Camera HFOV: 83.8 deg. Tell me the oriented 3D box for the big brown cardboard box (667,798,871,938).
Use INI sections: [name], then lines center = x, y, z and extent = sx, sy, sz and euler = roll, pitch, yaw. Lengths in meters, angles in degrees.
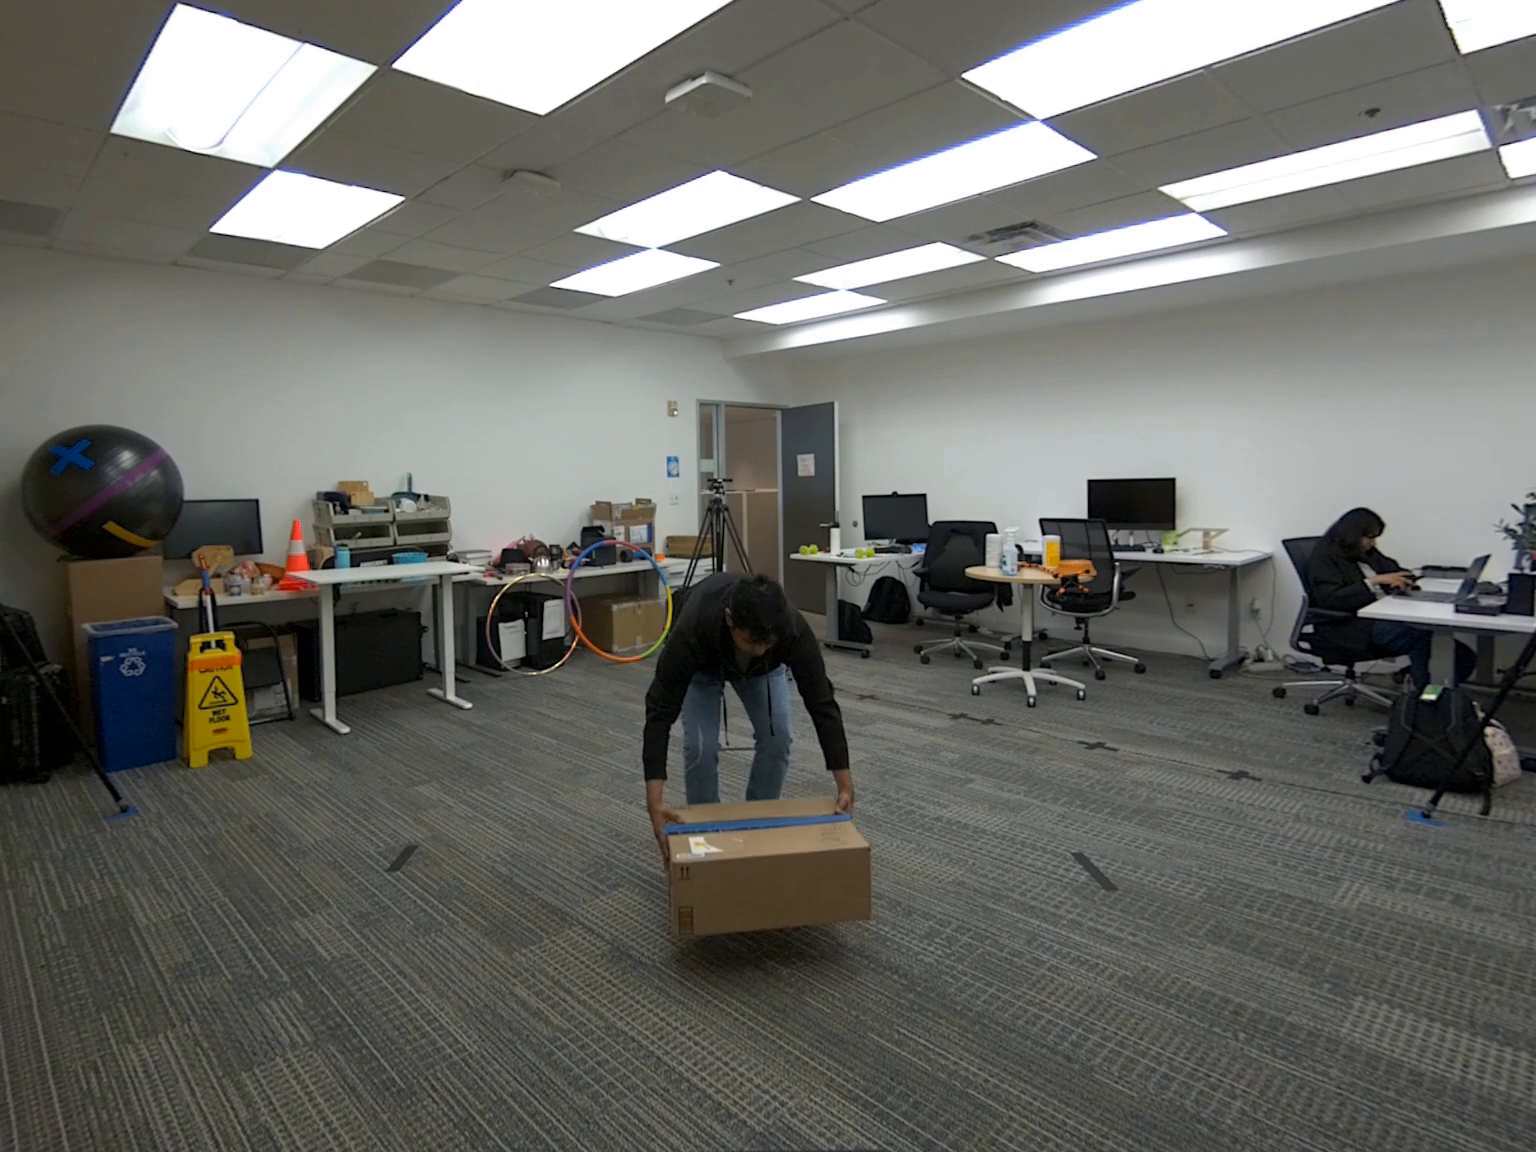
[big brown cardboard box]
center = -0.025, 0.847, 2.585
extent = 0.584, 0.232, 0.423
euler = -1, 5, -10
